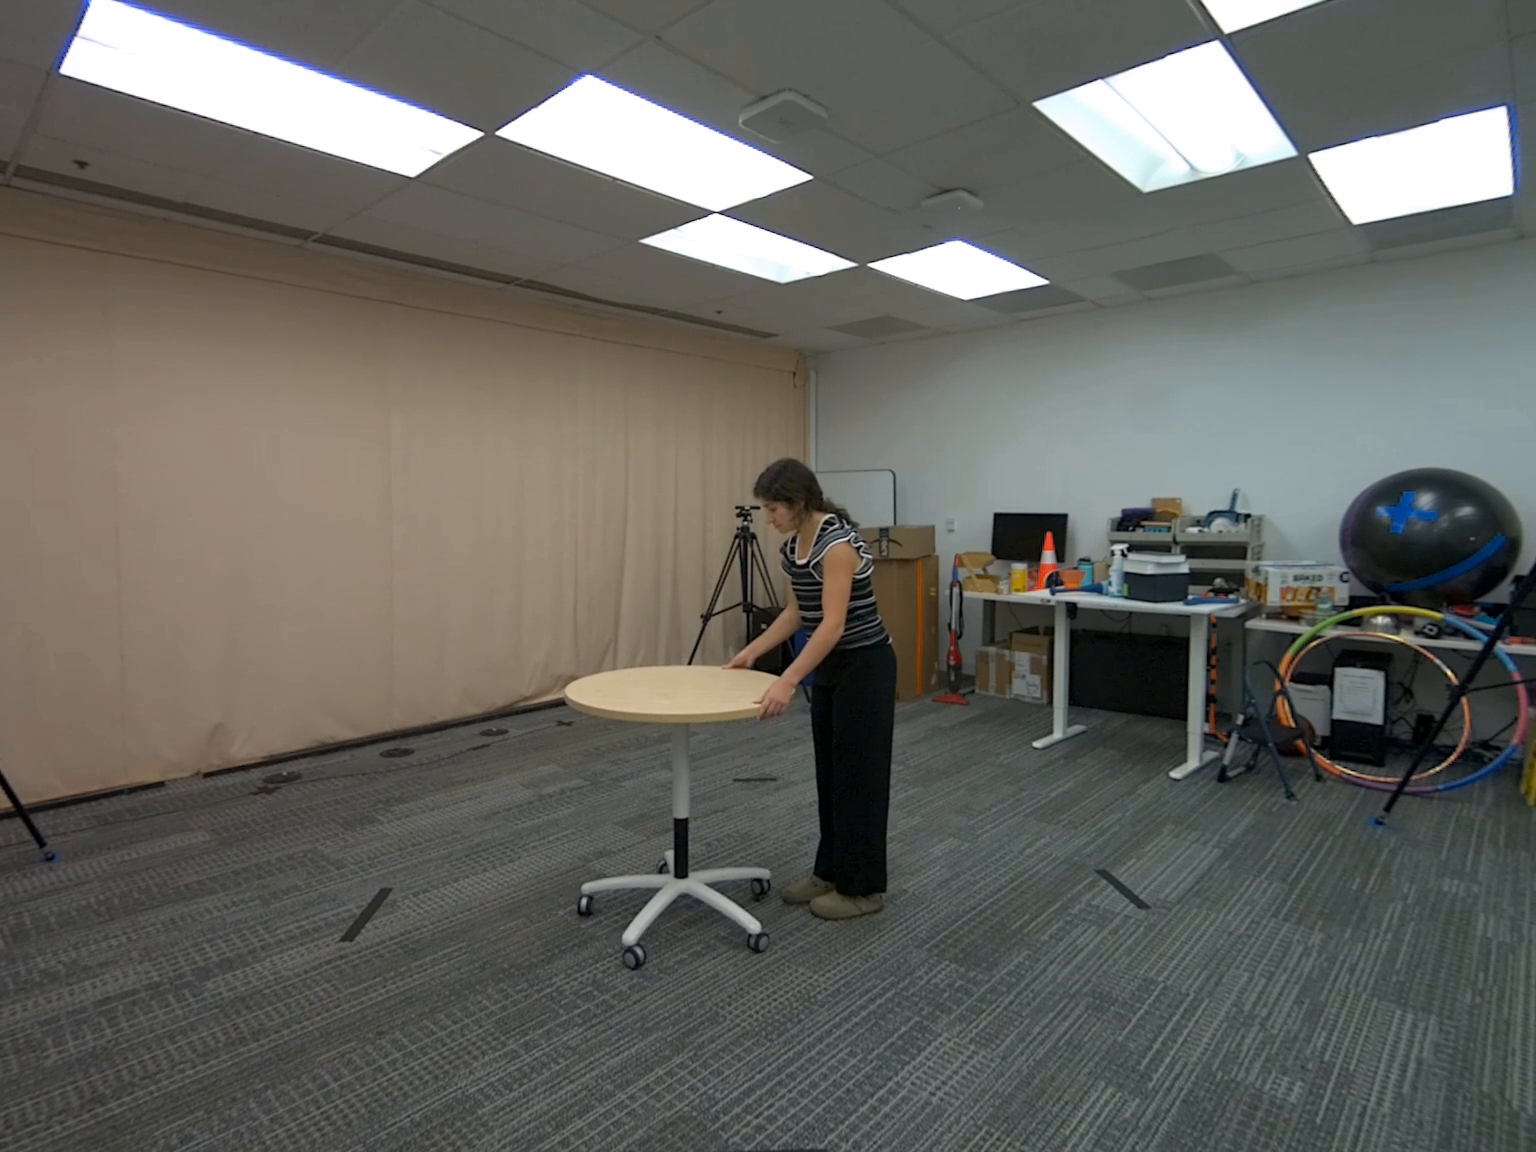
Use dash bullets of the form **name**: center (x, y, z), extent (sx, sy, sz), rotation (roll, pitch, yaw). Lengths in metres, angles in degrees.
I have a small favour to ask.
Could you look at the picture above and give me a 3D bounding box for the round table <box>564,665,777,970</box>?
- **round table**: center (-0.285, 0.766, 2.823), extent (0.784, 0.785, 0.788), rotation (0, 3, -2)
